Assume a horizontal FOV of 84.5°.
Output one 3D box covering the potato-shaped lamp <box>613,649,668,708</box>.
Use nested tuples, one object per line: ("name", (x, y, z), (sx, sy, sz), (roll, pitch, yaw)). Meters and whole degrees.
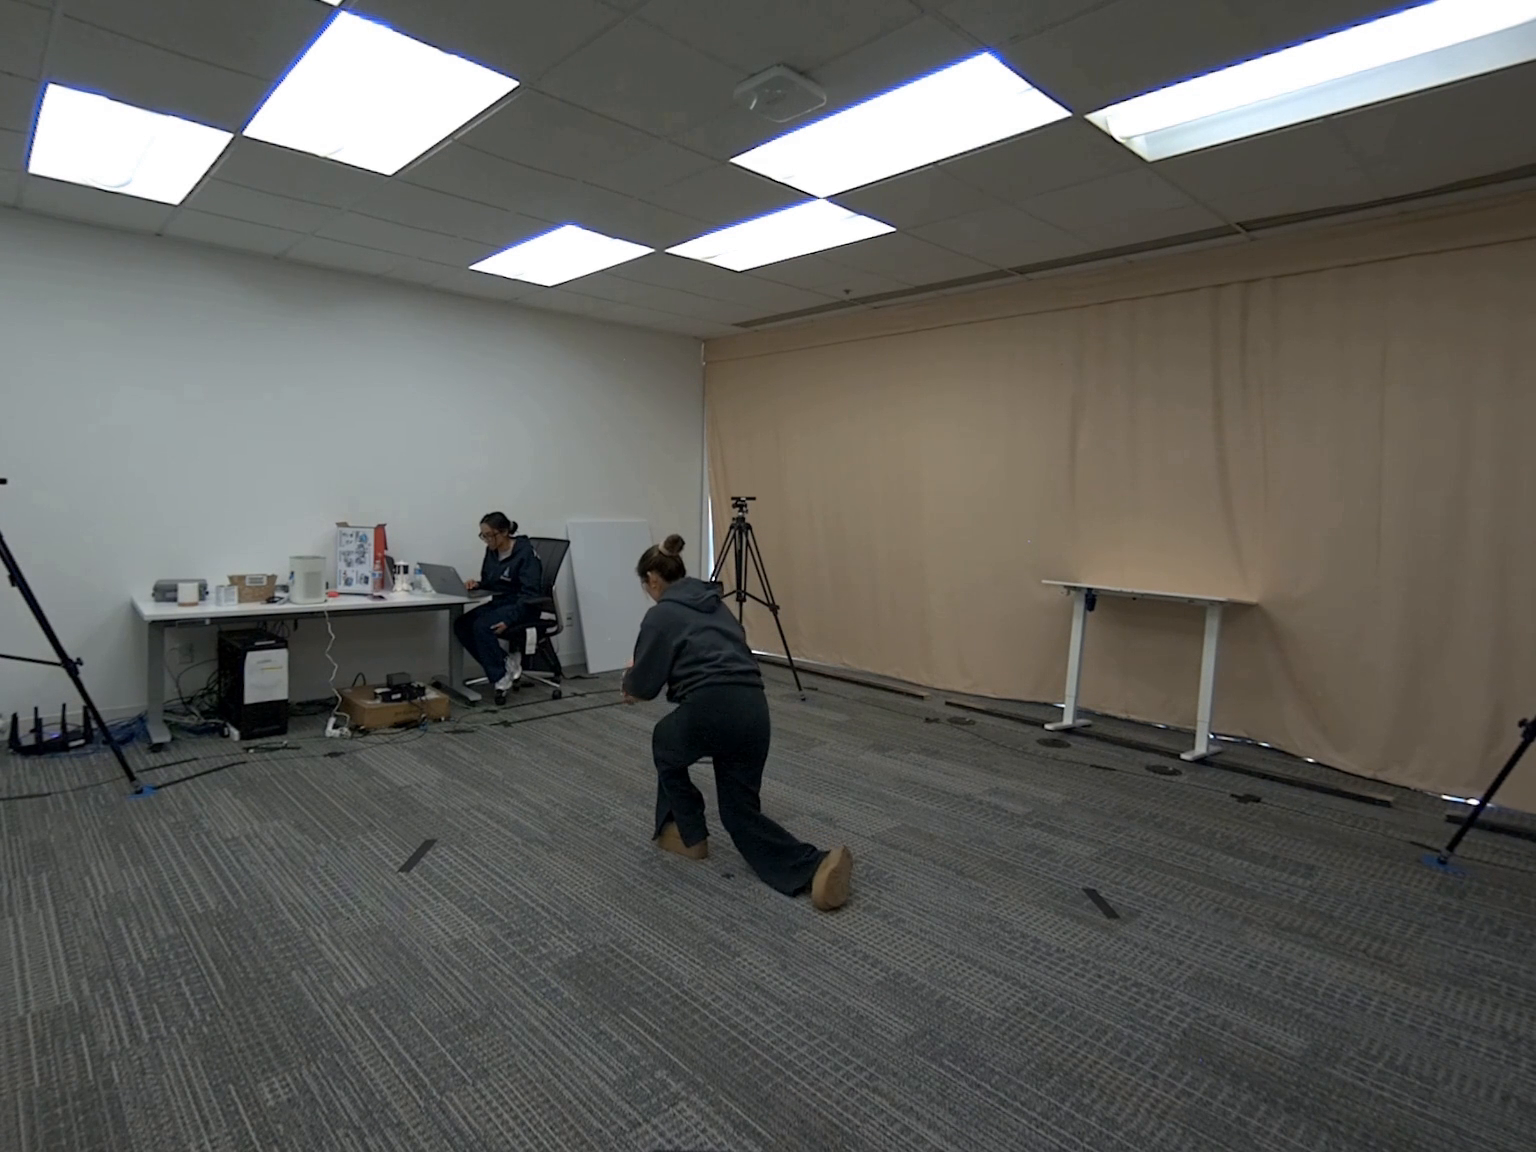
("potato-shaped lamp", (-0.538, 0.424, 3.586), (0.161, 0.197, 0.176), (-4, 8, -43))
